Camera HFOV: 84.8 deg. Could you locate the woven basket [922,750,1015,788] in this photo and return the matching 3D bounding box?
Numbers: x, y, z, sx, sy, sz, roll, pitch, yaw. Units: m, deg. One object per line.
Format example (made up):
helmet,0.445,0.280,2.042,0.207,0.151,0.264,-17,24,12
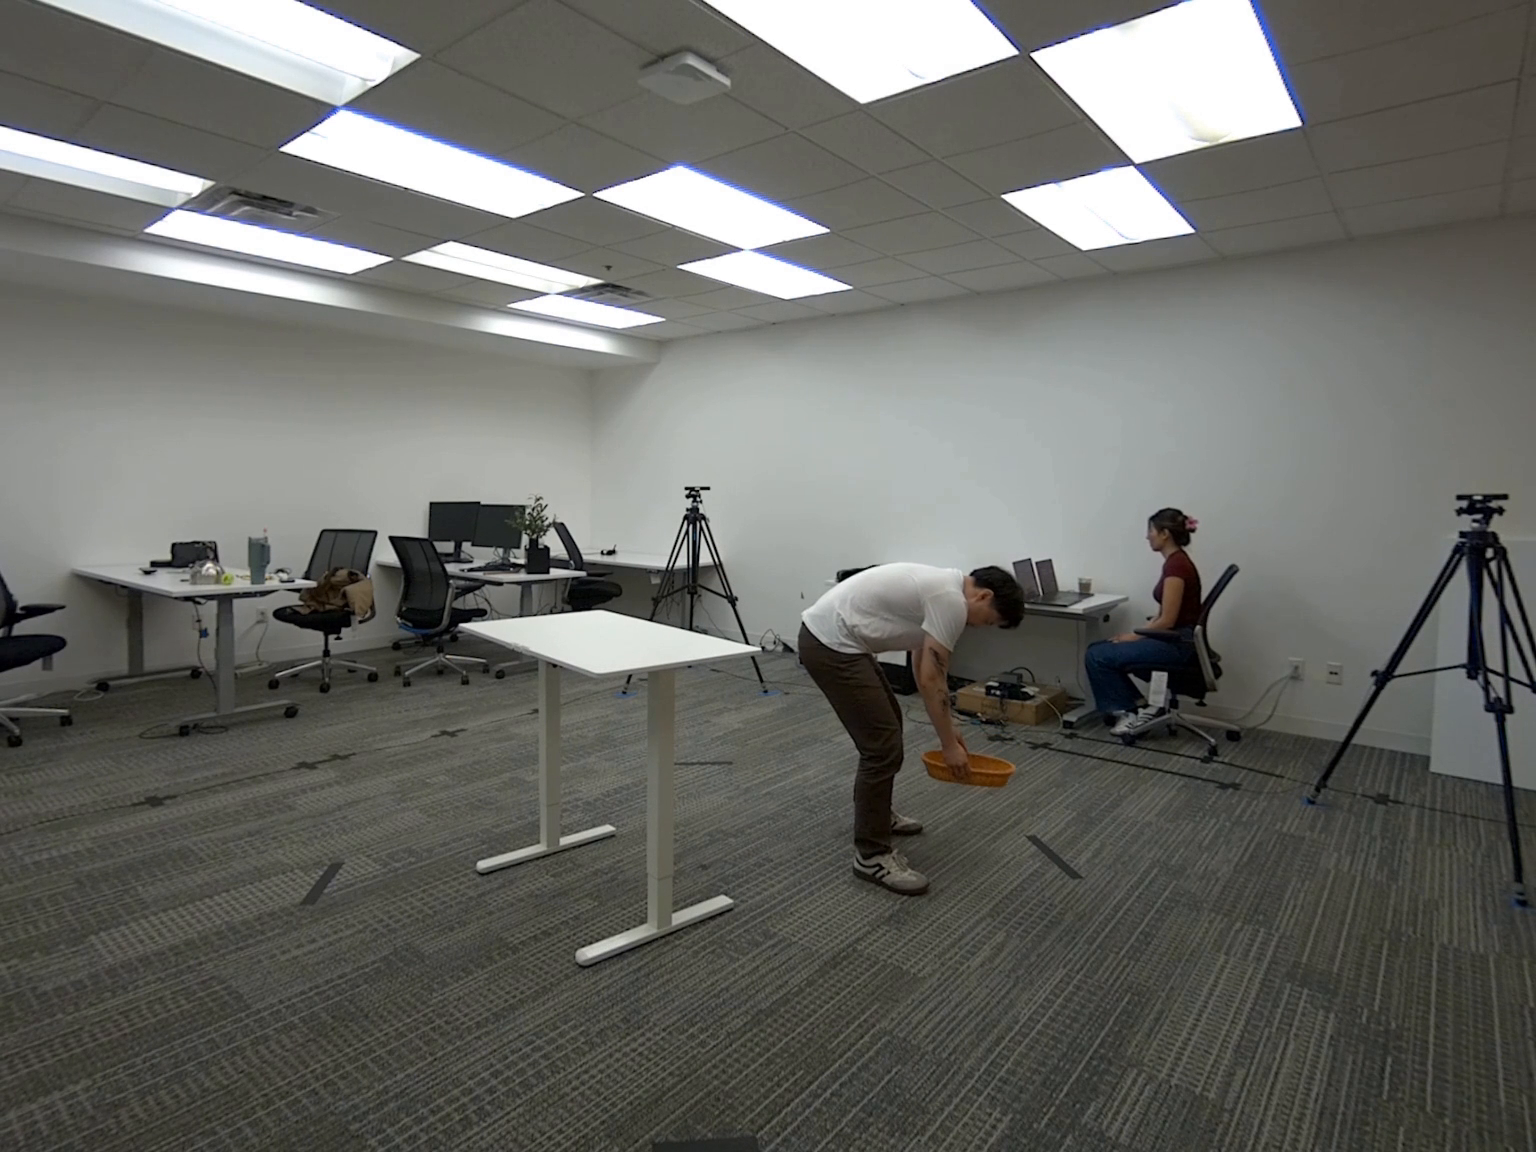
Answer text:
woven basket,0.742,0.729,3.223,0.348,0.073,0.254,2,4,-6
